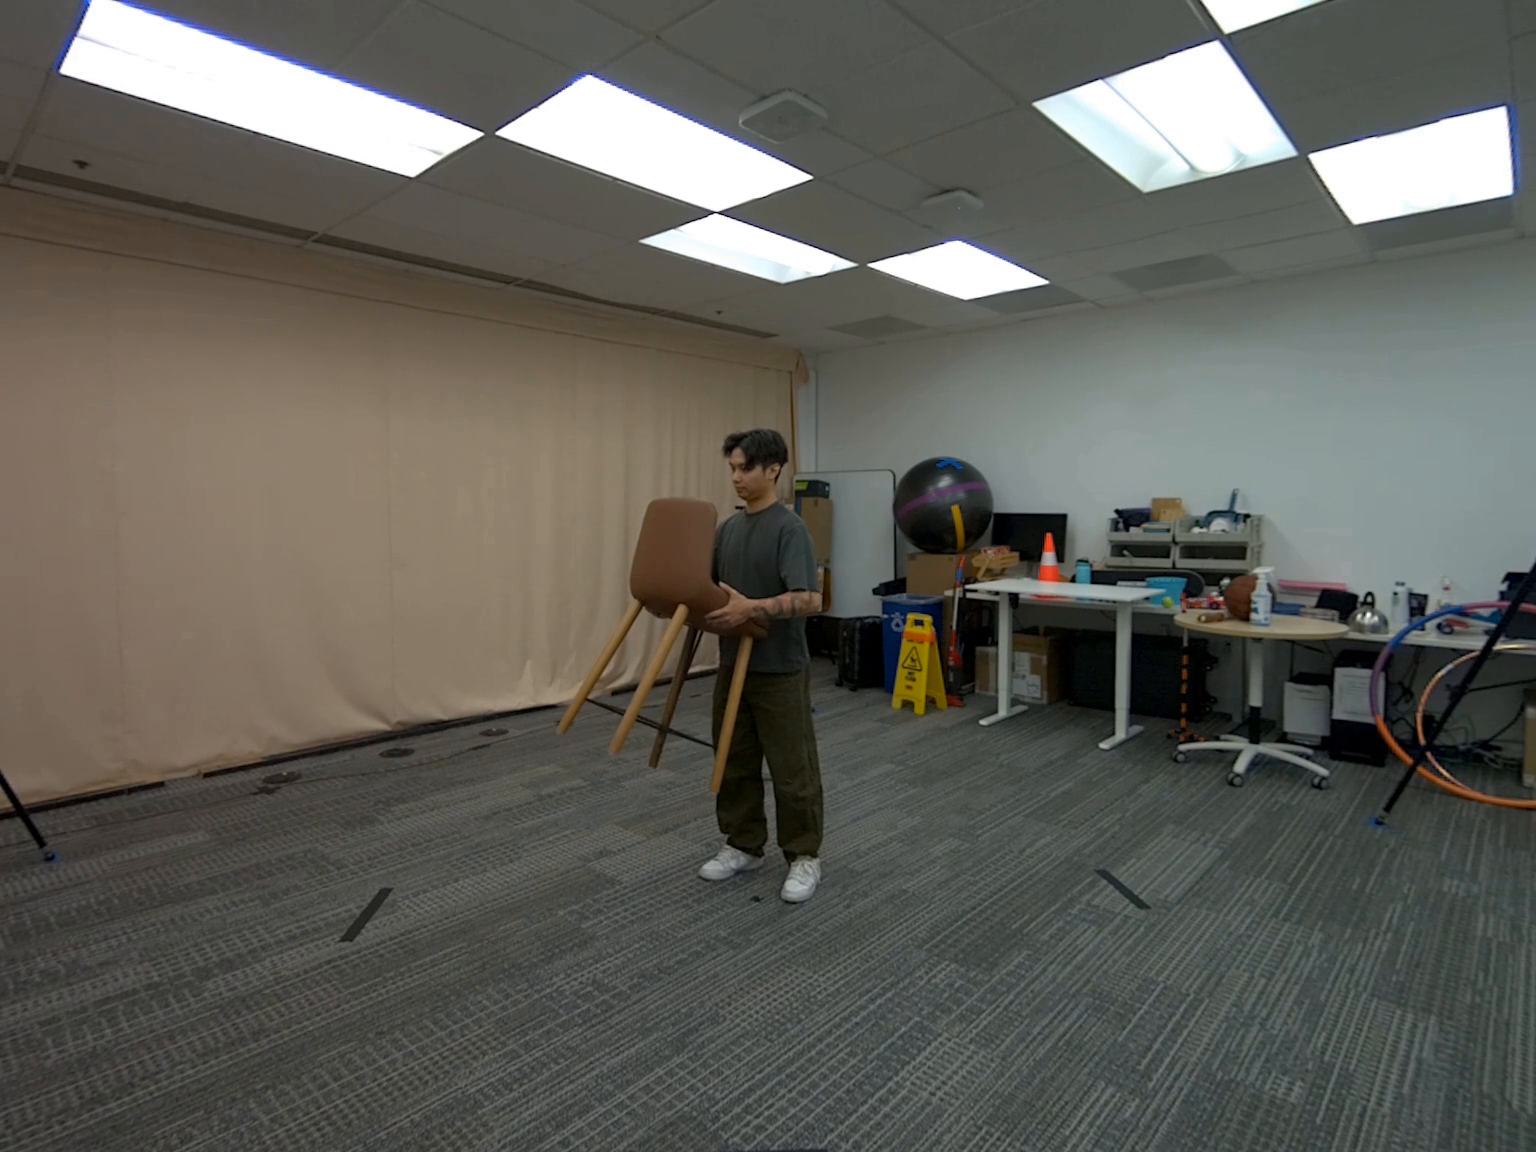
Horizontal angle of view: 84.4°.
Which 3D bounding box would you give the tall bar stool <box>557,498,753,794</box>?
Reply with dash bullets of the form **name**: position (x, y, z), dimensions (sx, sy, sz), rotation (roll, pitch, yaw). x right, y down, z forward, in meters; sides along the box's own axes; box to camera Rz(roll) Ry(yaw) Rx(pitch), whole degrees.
- **tall bar stool**: position (-0.297, 0.227, 2.939), dimensions (0.451, 0.892, 0.471), rotation (29, -17, -36)
